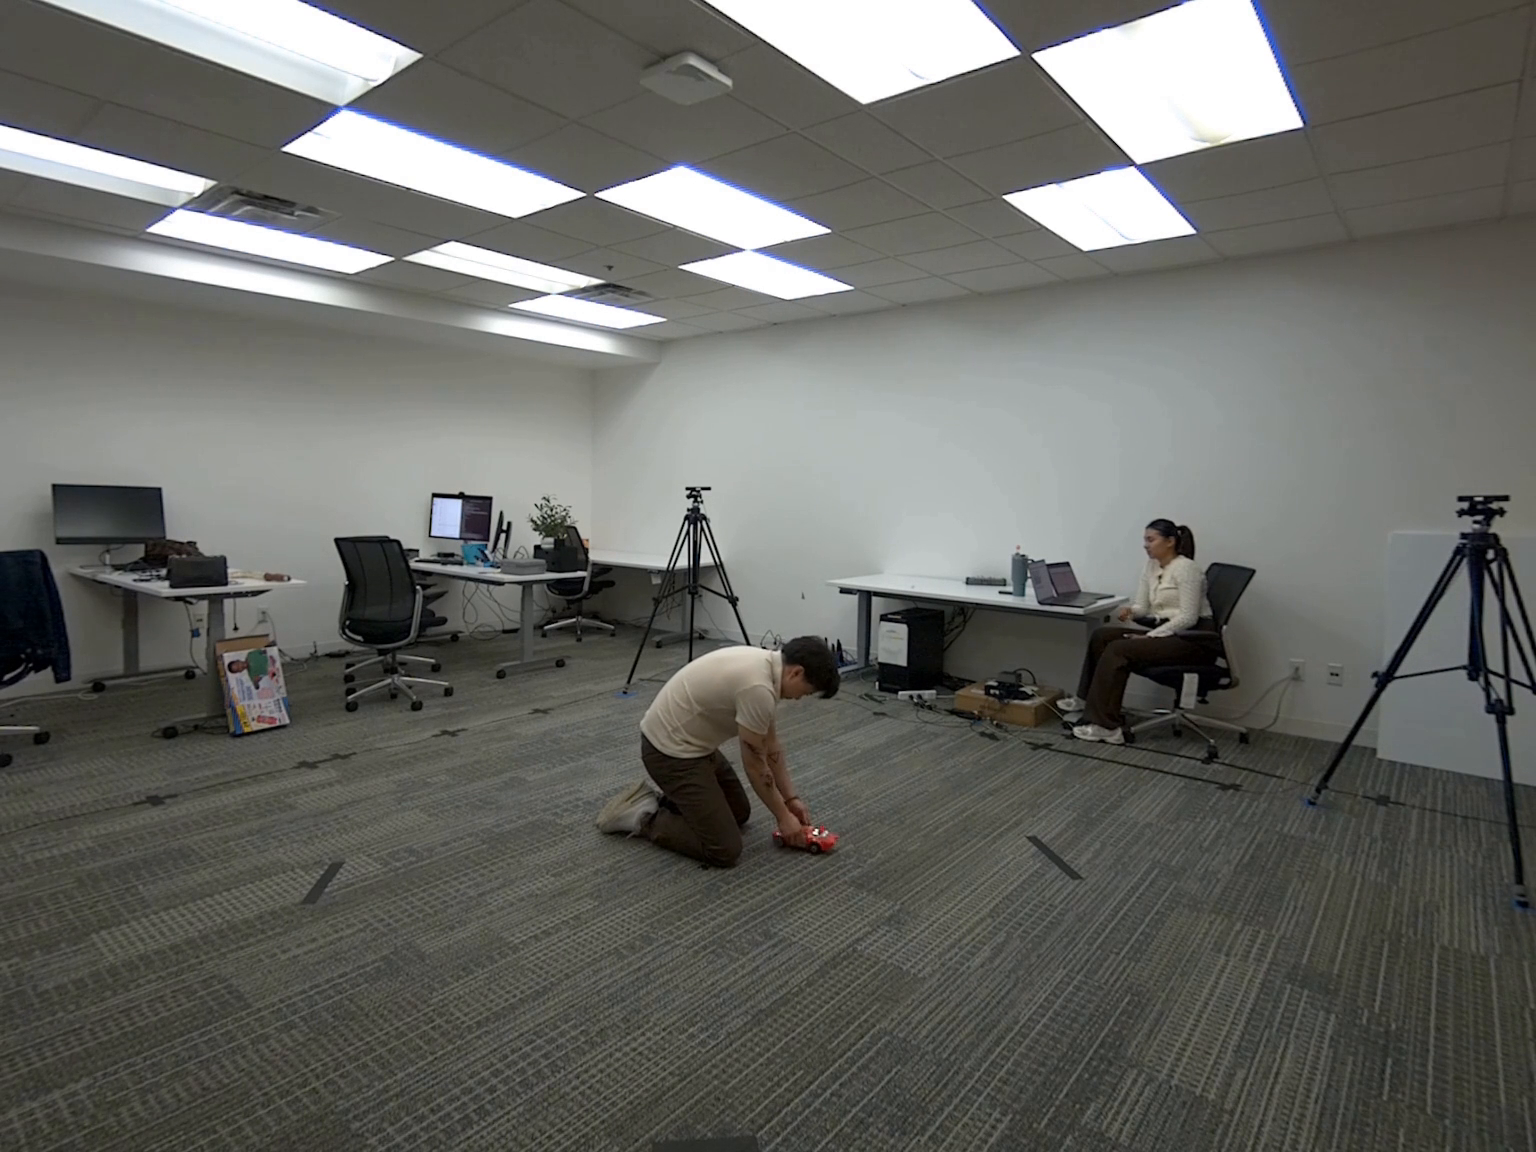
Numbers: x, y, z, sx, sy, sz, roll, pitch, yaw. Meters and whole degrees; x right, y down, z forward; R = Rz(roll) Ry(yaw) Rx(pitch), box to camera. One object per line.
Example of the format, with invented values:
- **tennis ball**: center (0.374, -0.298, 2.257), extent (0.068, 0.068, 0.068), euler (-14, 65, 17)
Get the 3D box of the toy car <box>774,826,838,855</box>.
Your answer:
- **toy car**: center (0.139, 1.024, 3.311), extent (0.259, 0.083, 0.128), euler (-8, 1, 21)
